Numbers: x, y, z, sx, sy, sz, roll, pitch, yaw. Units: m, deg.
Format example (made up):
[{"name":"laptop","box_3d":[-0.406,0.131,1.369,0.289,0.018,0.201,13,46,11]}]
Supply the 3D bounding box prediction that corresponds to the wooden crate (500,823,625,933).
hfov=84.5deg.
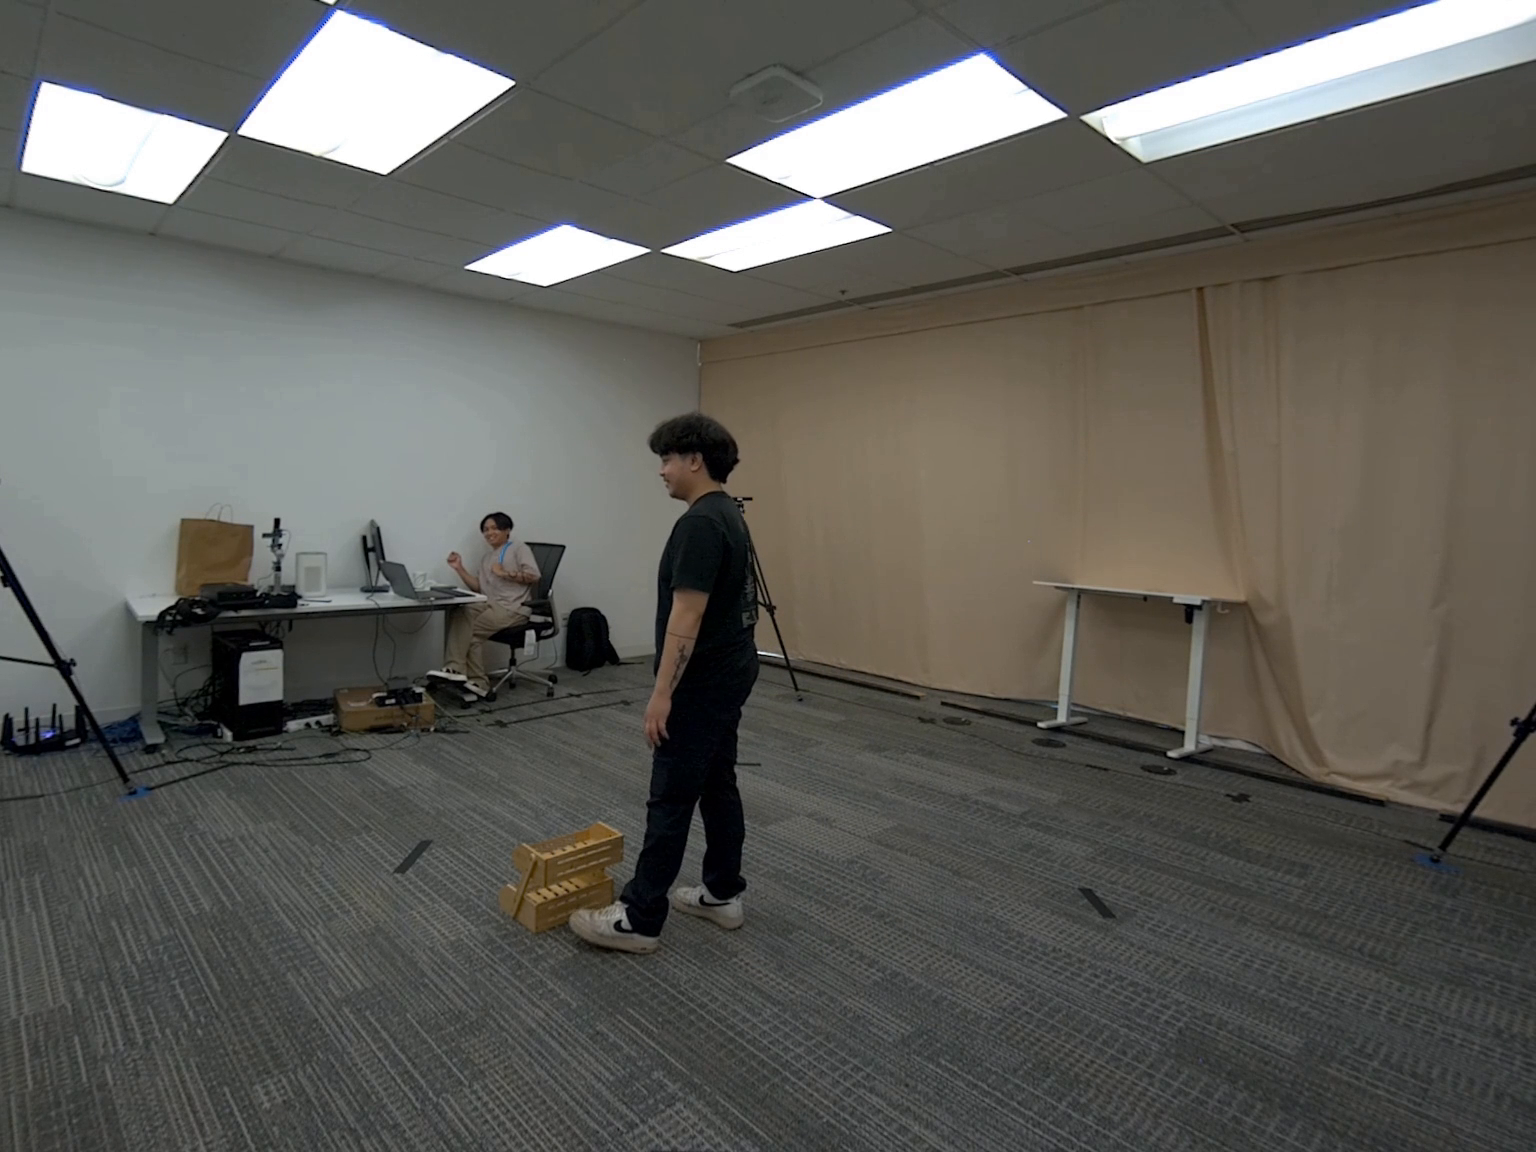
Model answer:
[{"name":"wooden crate","box_3d":[-0.708,0.989,2.831,0.317,0.272,0.310,-3,7,-44]}]
